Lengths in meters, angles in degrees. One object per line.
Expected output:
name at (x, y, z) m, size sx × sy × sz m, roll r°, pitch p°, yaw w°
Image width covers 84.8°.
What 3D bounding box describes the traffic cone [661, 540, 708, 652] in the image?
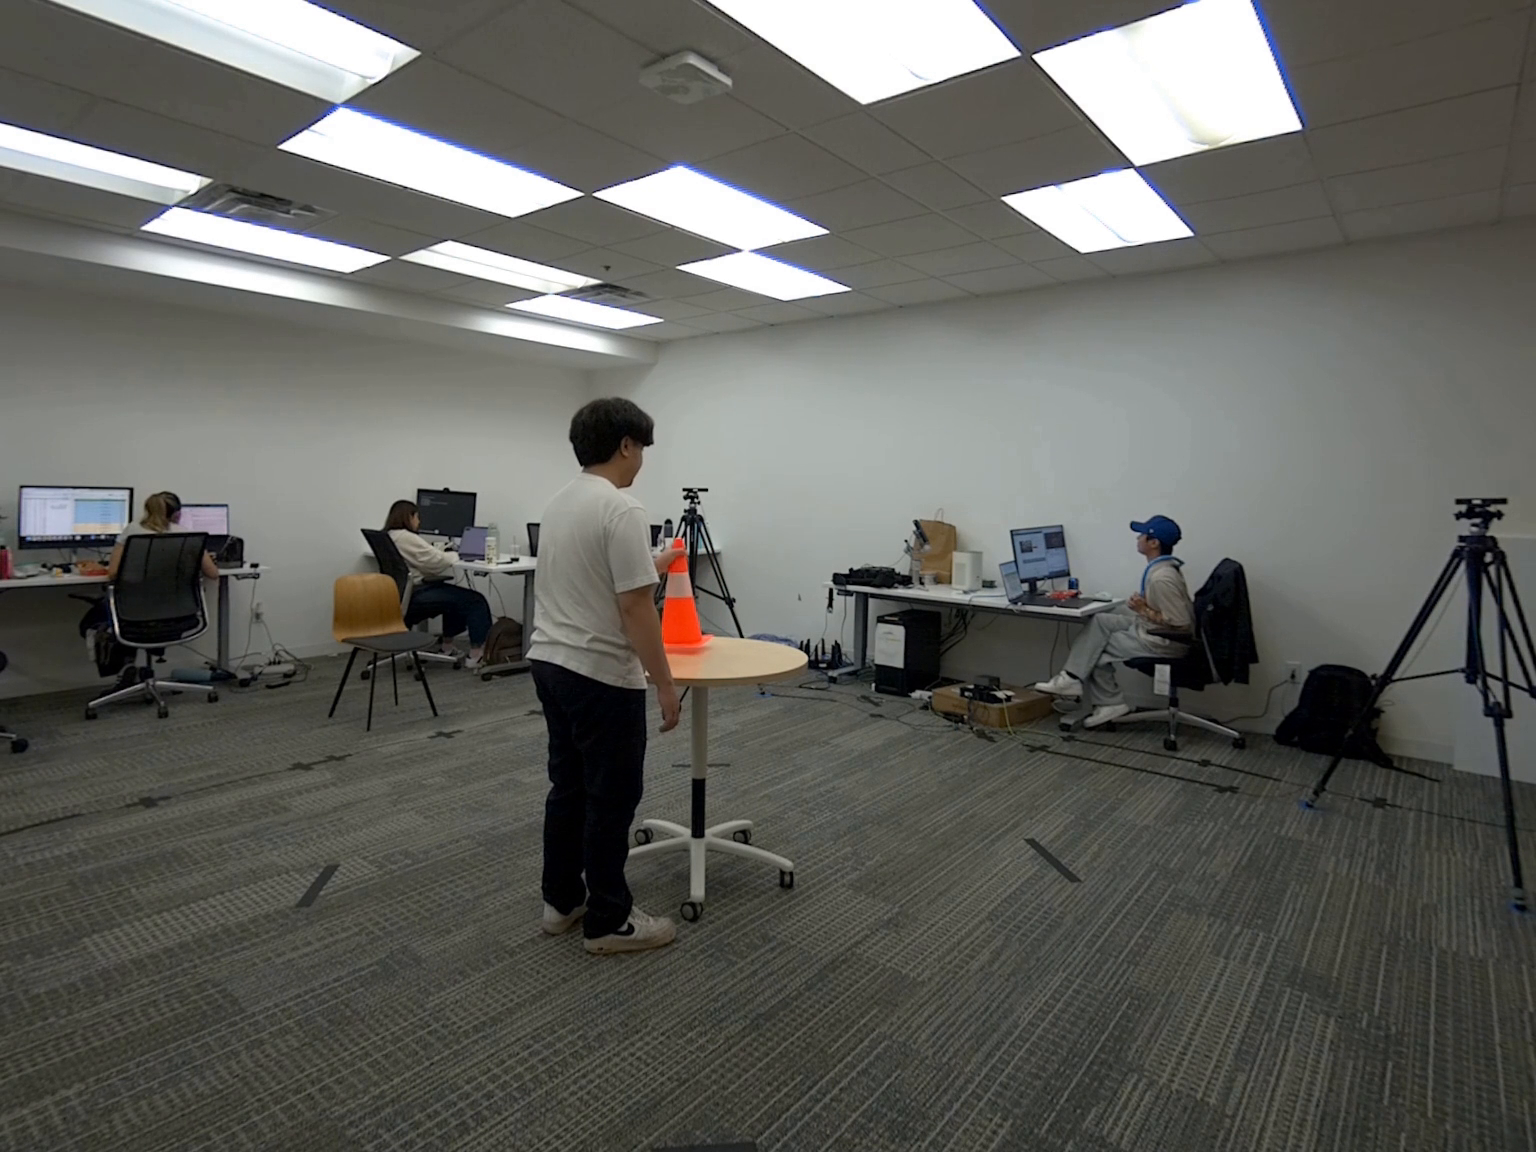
traffic cone at (-0.341, 0.057, 3.120) m, size 0.209 × 0.382 × 0.201 m, roll 0°, pitch 5°, yaw 17°
